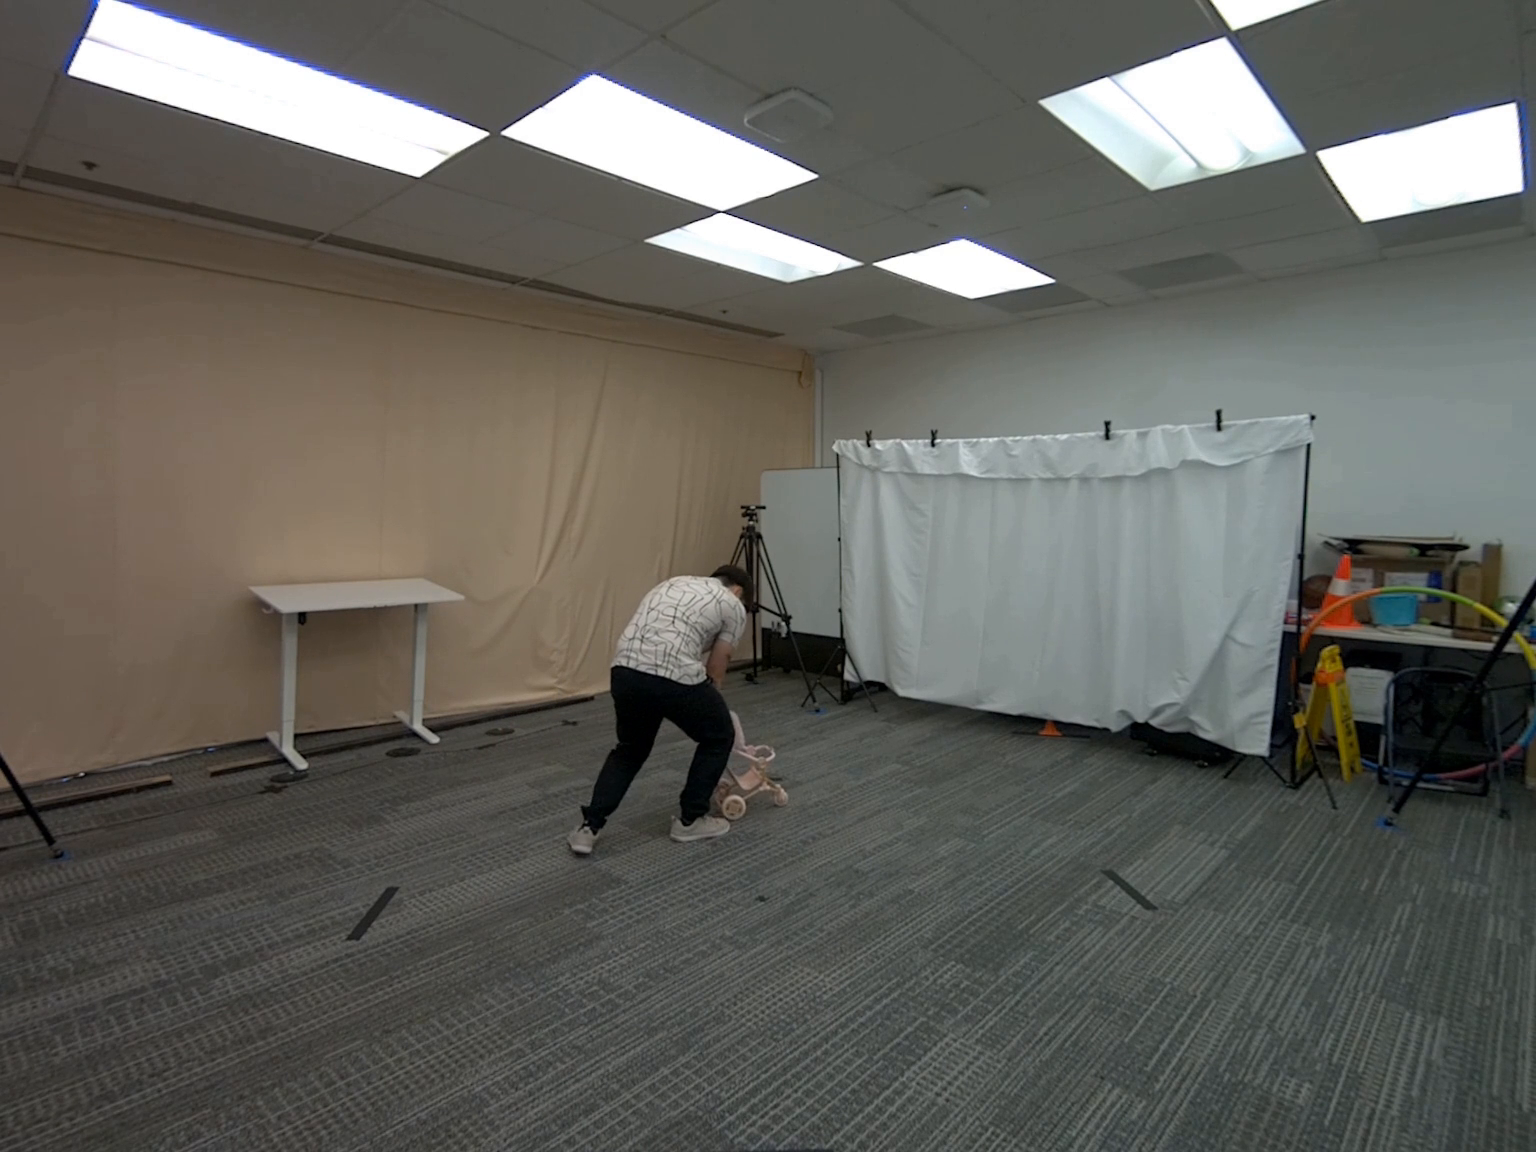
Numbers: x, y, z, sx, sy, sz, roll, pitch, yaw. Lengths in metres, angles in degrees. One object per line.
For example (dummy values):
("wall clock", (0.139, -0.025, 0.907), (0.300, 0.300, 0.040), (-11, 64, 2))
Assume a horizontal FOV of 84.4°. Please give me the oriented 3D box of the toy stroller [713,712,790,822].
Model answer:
("toy stroller", (-0.131, 0.854, 3.856), (0.339, 0.532, 0.284), (-19, 6, -7))
